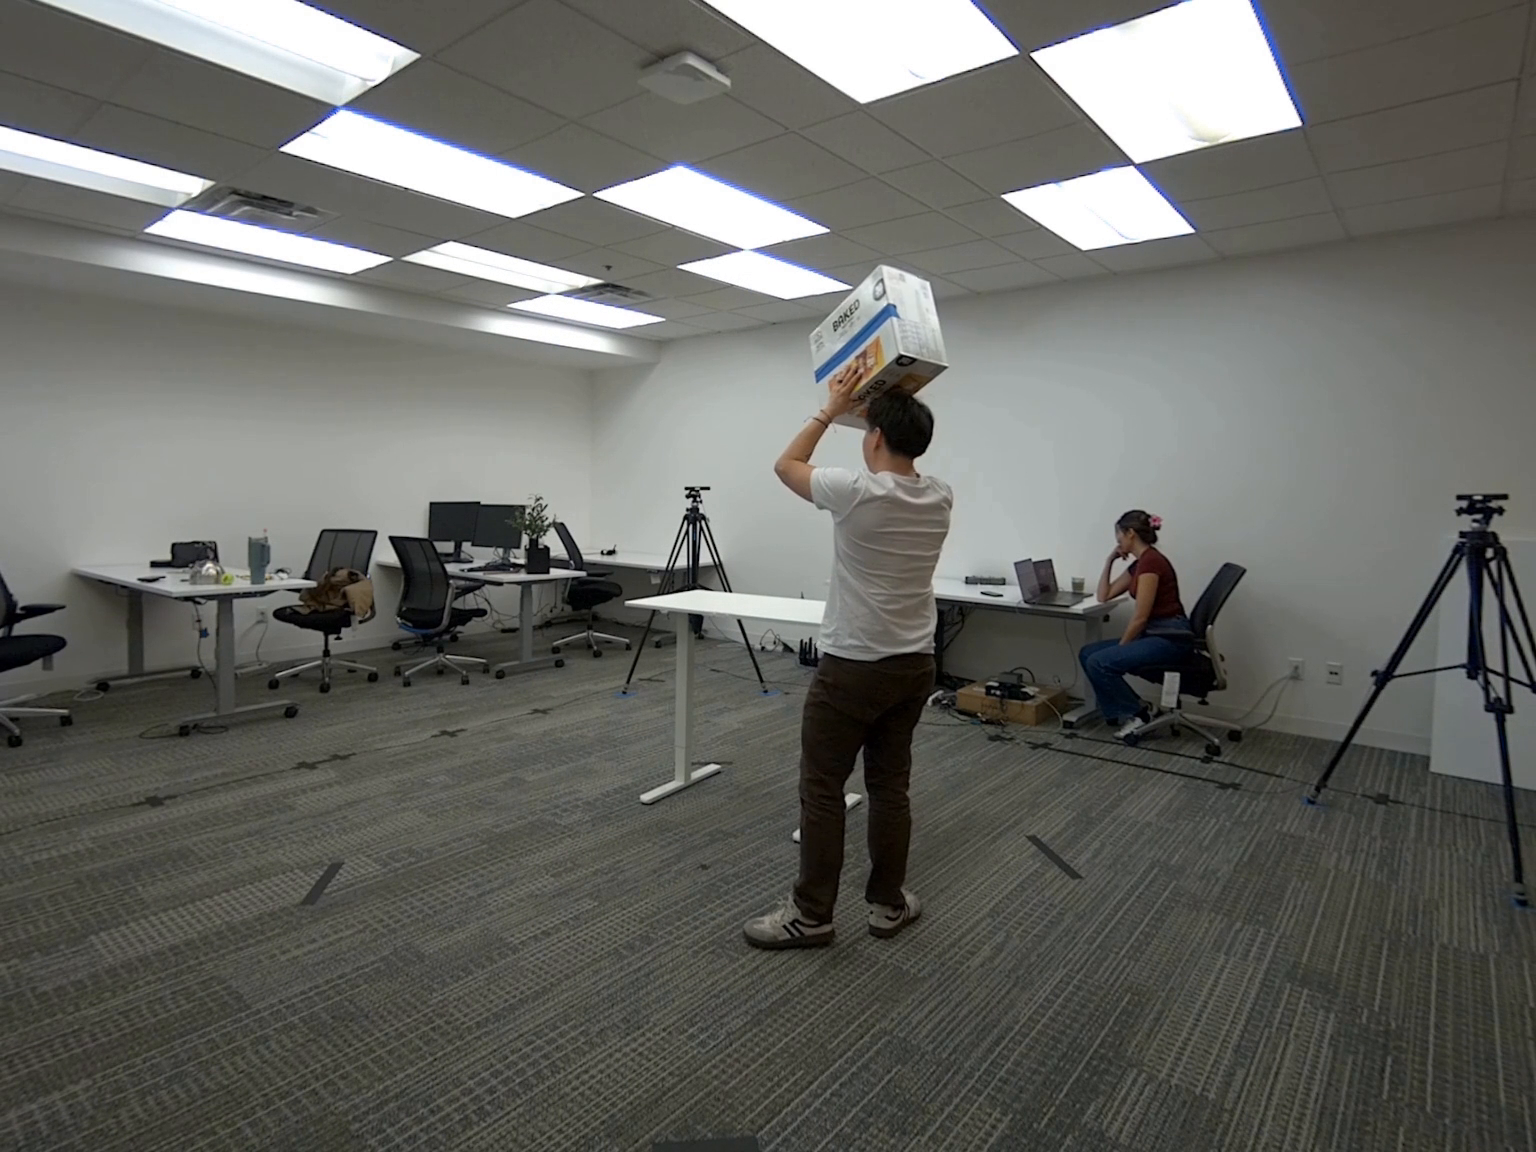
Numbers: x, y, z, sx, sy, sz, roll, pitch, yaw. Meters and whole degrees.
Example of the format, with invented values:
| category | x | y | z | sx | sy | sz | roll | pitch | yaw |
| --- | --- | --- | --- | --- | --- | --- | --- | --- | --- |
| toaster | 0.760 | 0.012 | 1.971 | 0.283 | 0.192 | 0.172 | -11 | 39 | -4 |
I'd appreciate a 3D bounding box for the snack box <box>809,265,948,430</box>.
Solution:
| category | x | y | z | sx | sy | sz | roll | pitch | yaw |
| --- | --- | --- | --- | --- | --- | --- | --- | --- | --- |
| snack box | 0.338 | -0.737 | 2.782 | 0.199 | 0.348 | 0.408 | 6 | -25 | -31 |
